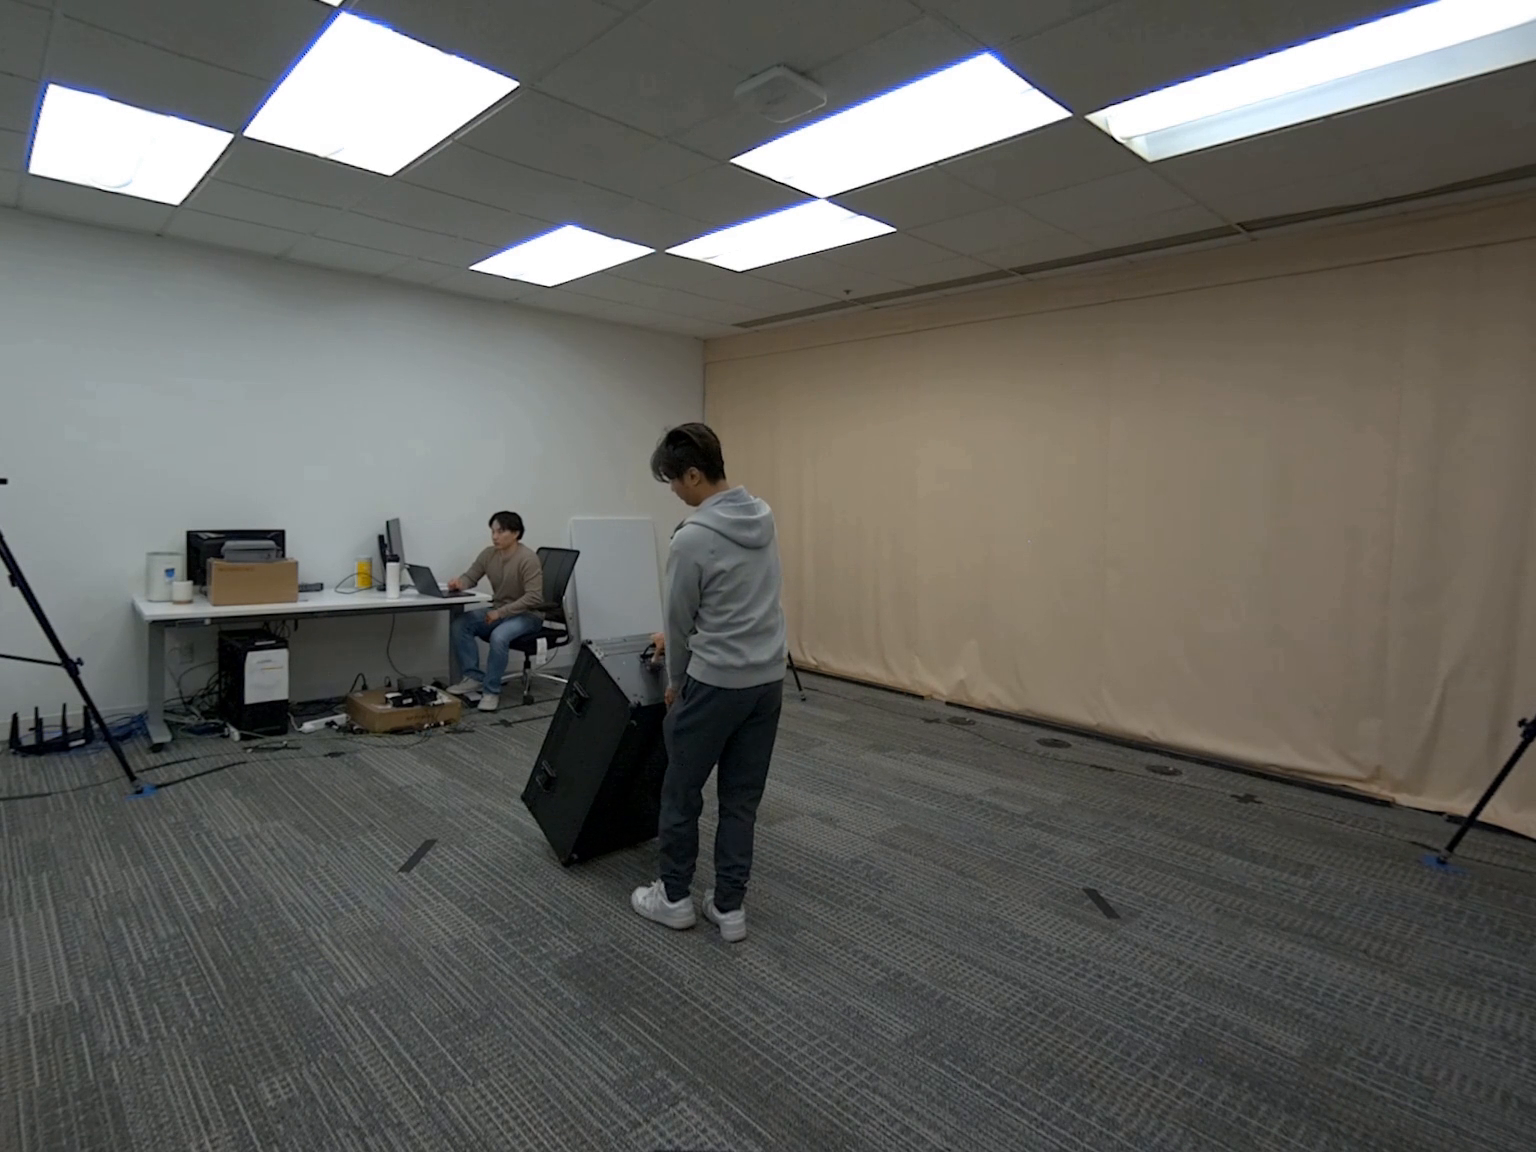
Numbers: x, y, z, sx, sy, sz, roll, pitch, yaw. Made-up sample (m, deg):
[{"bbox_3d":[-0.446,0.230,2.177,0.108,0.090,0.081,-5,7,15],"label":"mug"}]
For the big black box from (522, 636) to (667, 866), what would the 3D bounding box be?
[{"bbox_3d":[-0.544,0.672,3.185,0.509,0.855,0.408,-2,37,-46],"label":"big black box"}]
